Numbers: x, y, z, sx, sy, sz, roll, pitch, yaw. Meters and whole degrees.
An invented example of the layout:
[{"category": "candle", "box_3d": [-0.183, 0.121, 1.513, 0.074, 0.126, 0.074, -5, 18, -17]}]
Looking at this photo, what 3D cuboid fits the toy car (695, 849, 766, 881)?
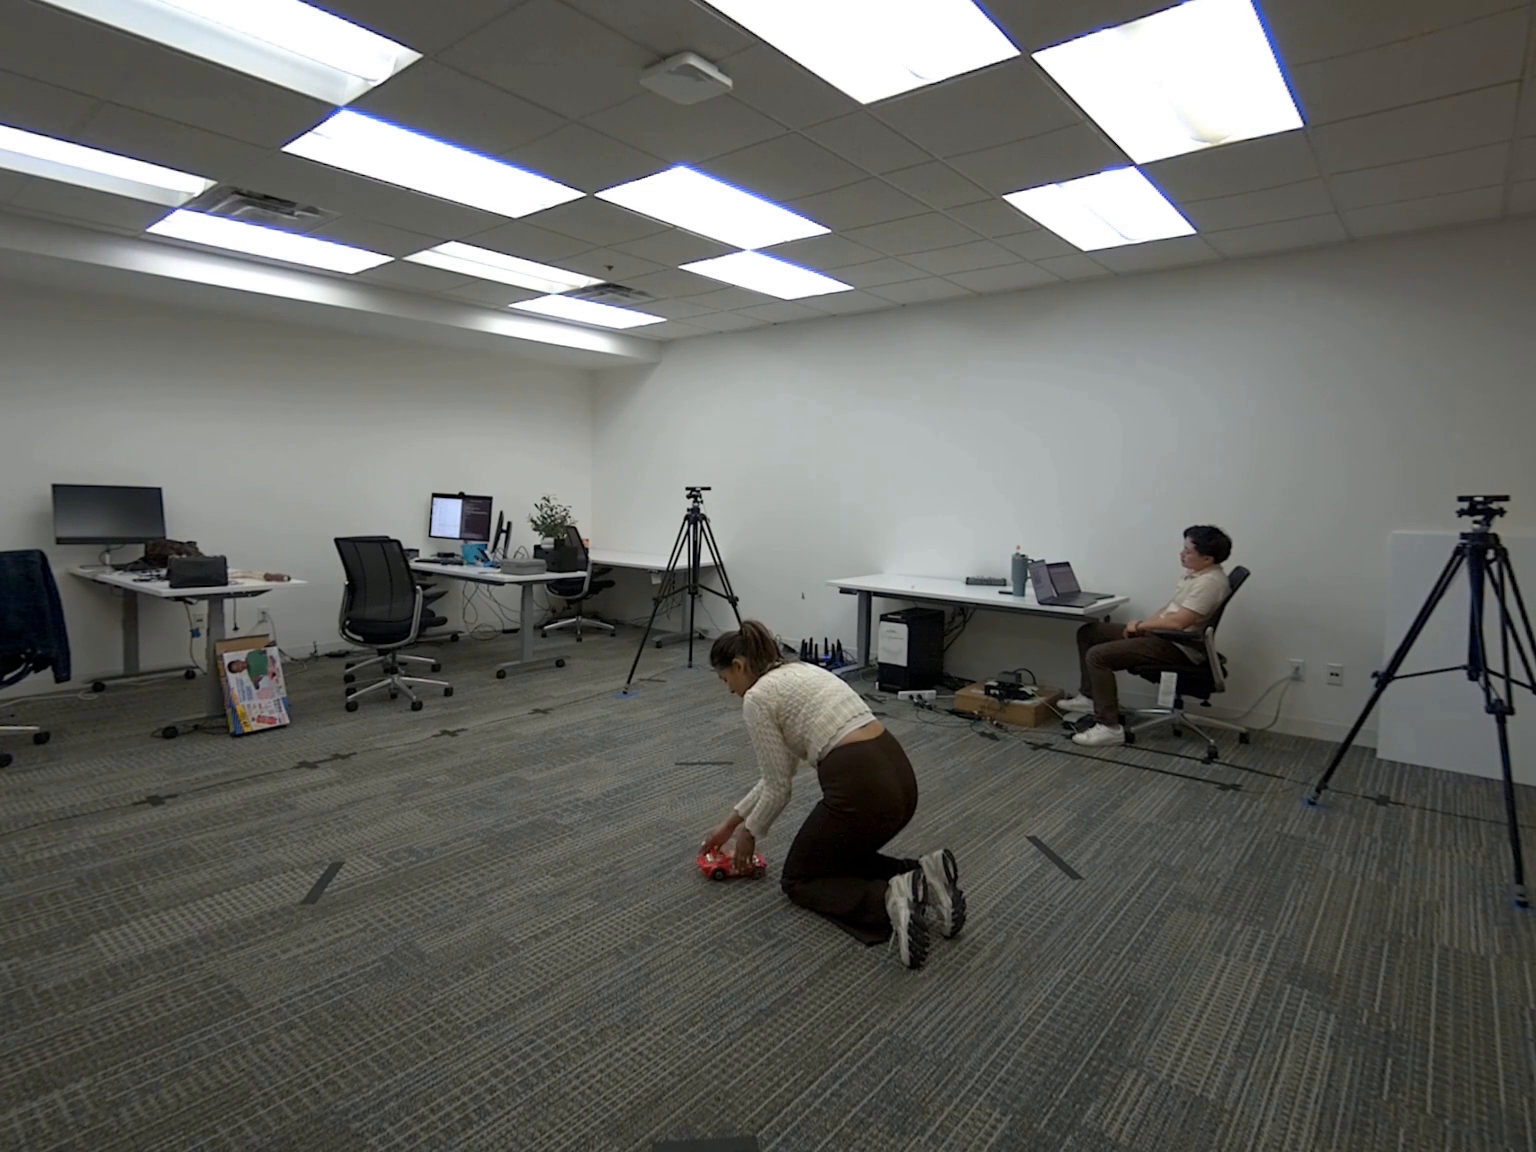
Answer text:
[{"category": "toy car", "box_3d": [-0.149, 1.037, 3.068, 0.251, 0.083, 0.132, 13, 1, -11]}]
